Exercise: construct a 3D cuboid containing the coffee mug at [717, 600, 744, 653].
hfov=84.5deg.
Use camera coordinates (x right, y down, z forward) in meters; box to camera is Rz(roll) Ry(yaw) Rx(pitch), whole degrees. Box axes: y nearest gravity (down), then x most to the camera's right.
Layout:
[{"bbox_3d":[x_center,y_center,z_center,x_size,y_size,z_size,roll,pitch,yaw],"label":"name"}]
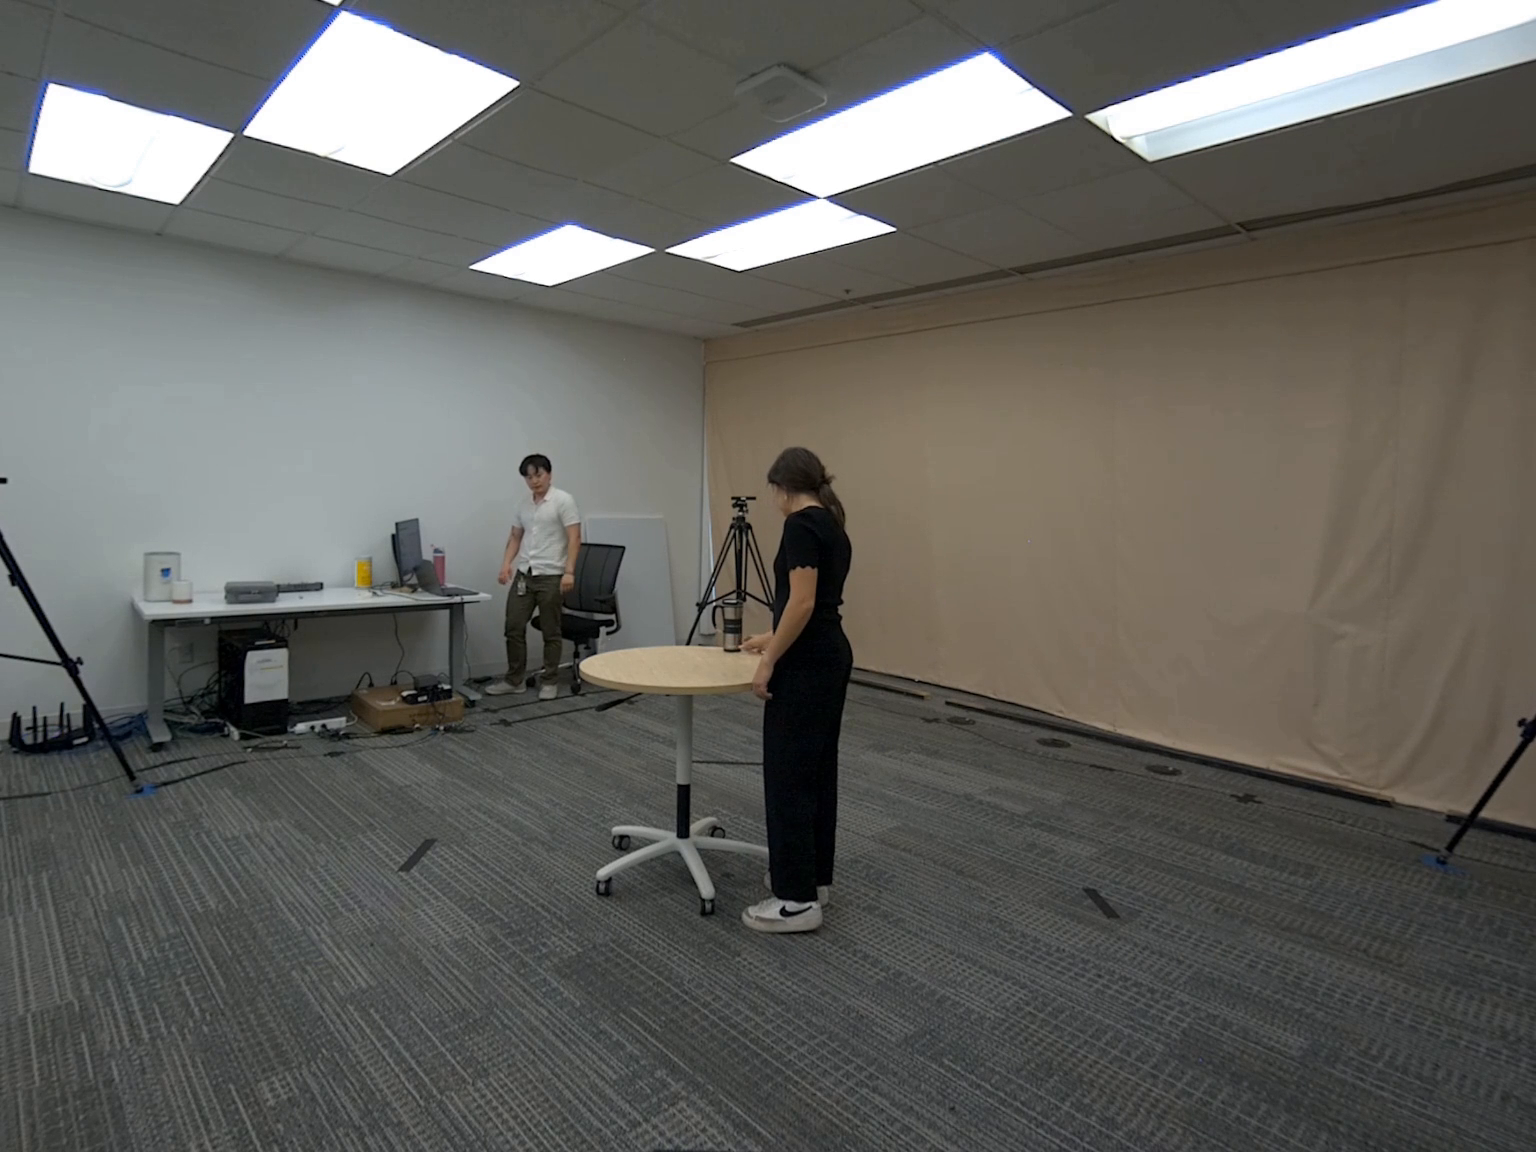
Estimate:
[{"bbox_3d":[-0.167,0.197,3.357,0.125,0.202,0.086,7,7,31],"label":"coffee mug"}]
